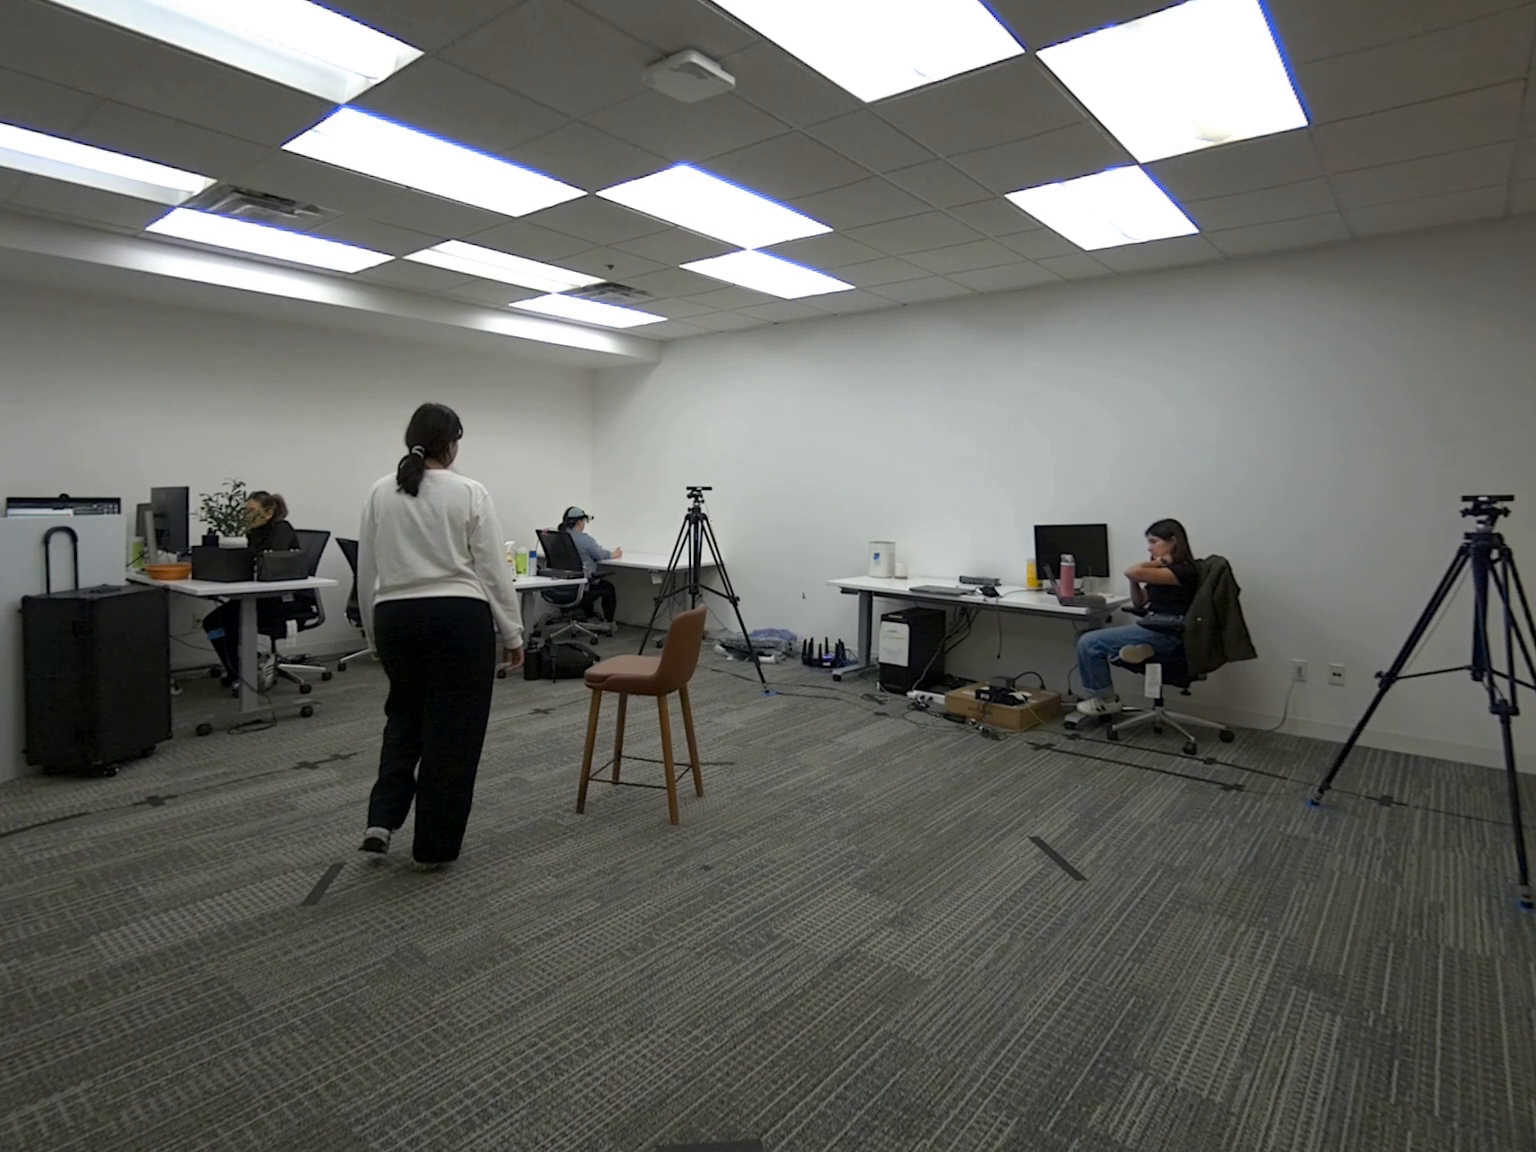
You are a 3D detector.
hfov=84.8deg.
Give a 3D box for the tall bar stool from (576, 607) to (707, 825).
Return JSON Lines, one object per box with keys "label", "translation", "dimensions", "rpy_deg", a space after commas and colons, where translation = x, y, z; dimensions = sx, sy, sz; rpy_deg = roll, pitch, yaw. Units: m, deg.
{"label": "tall bar stool", "translation": [-0.543, 0.565, 3.723], "dimensions": [0.476, 0.887, 0.450], "rpy_deg": [3, 4, 16]}
